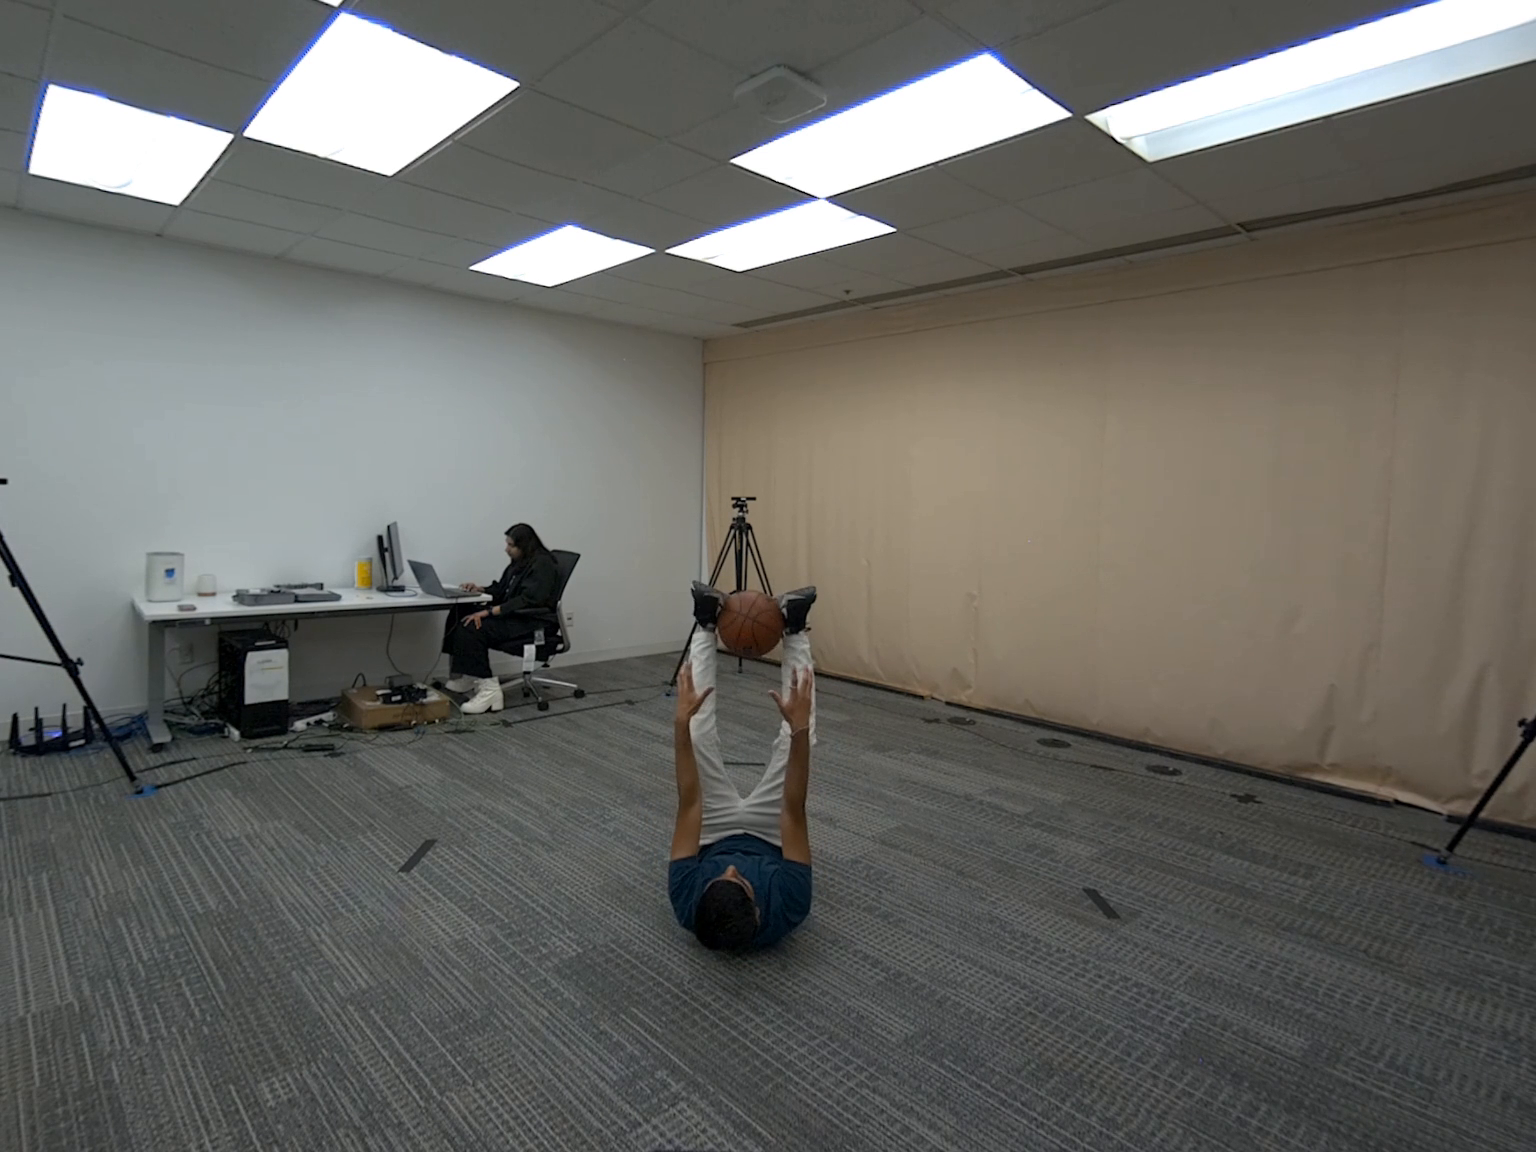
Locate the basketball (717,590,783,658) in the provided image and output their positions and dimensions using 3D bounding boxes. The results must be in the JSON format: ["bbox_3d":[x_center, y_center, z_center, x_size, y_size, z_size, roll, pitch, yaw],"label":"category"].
[{"bbox_3d":[-0.066,0.188,3.015,0.236,0.235,0.237,1,4,-1],"label":"basketball"}]
